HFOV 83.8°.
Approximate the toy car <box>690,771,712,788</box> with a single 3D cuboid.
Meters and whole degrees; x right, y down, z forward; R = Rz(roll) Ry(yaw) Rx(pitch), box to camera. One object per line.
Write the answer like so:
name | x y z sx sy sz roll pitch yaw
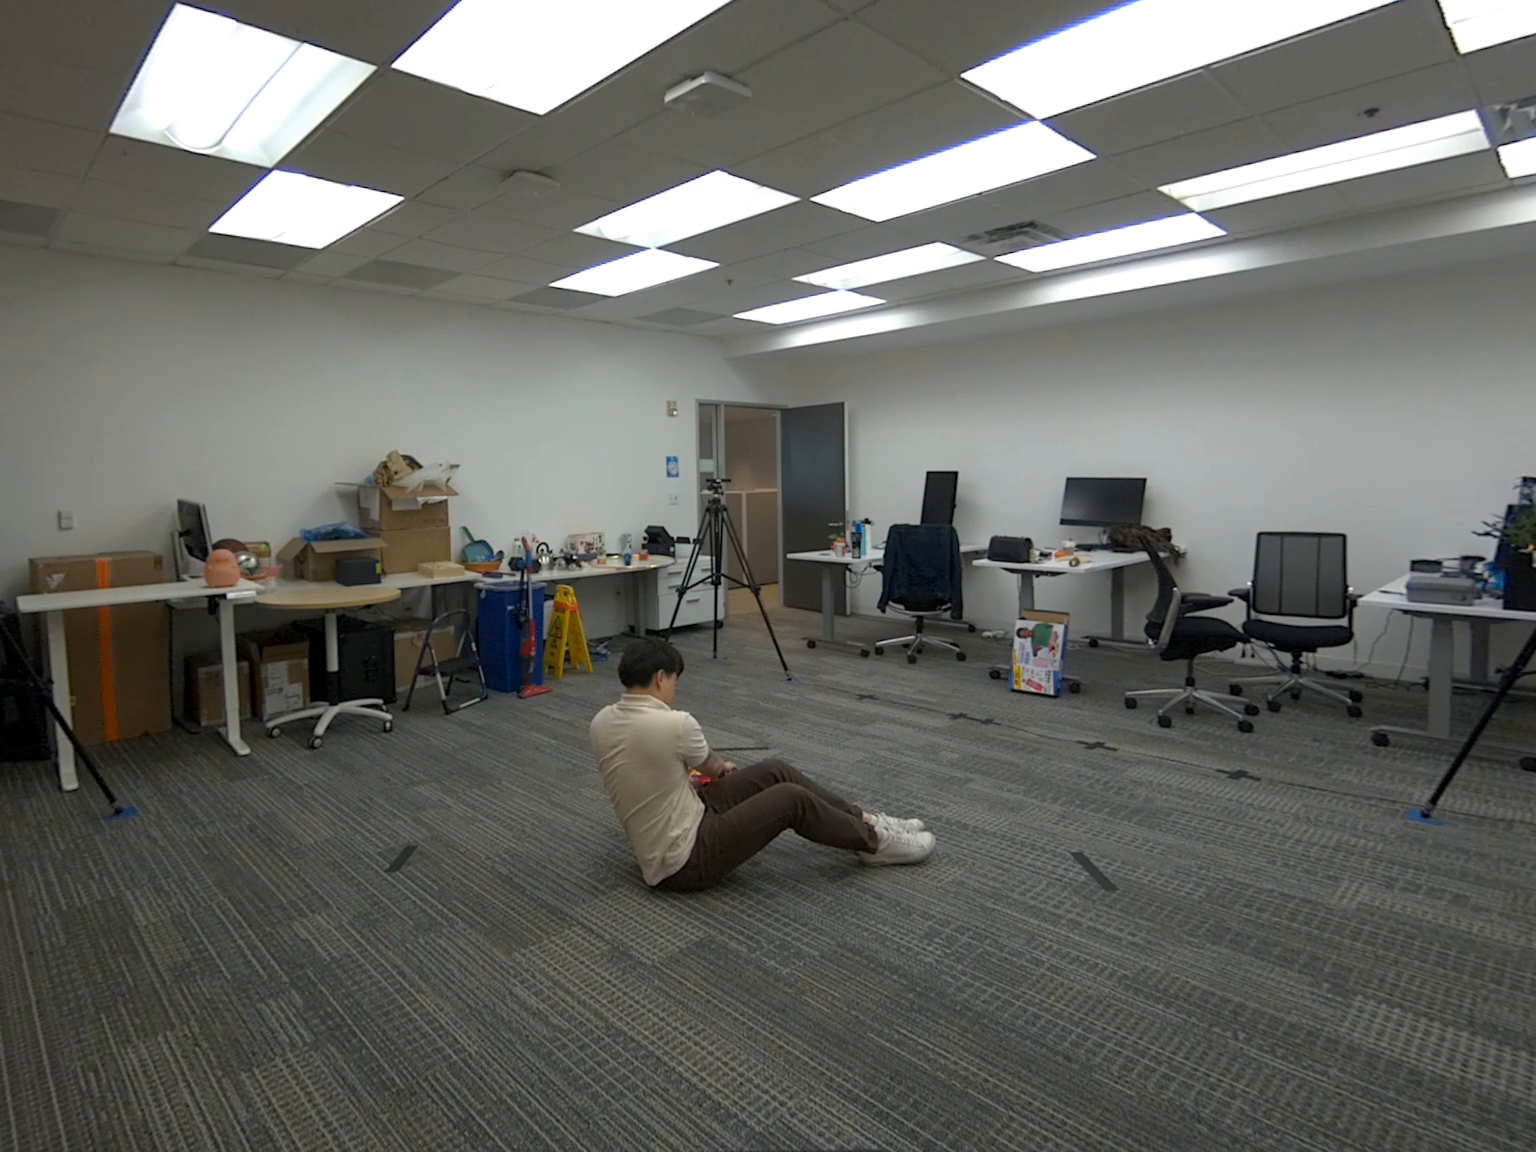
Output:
toy car | -0.274 0.817 3.422 0.256 0.082 0.131 -16 14 9
